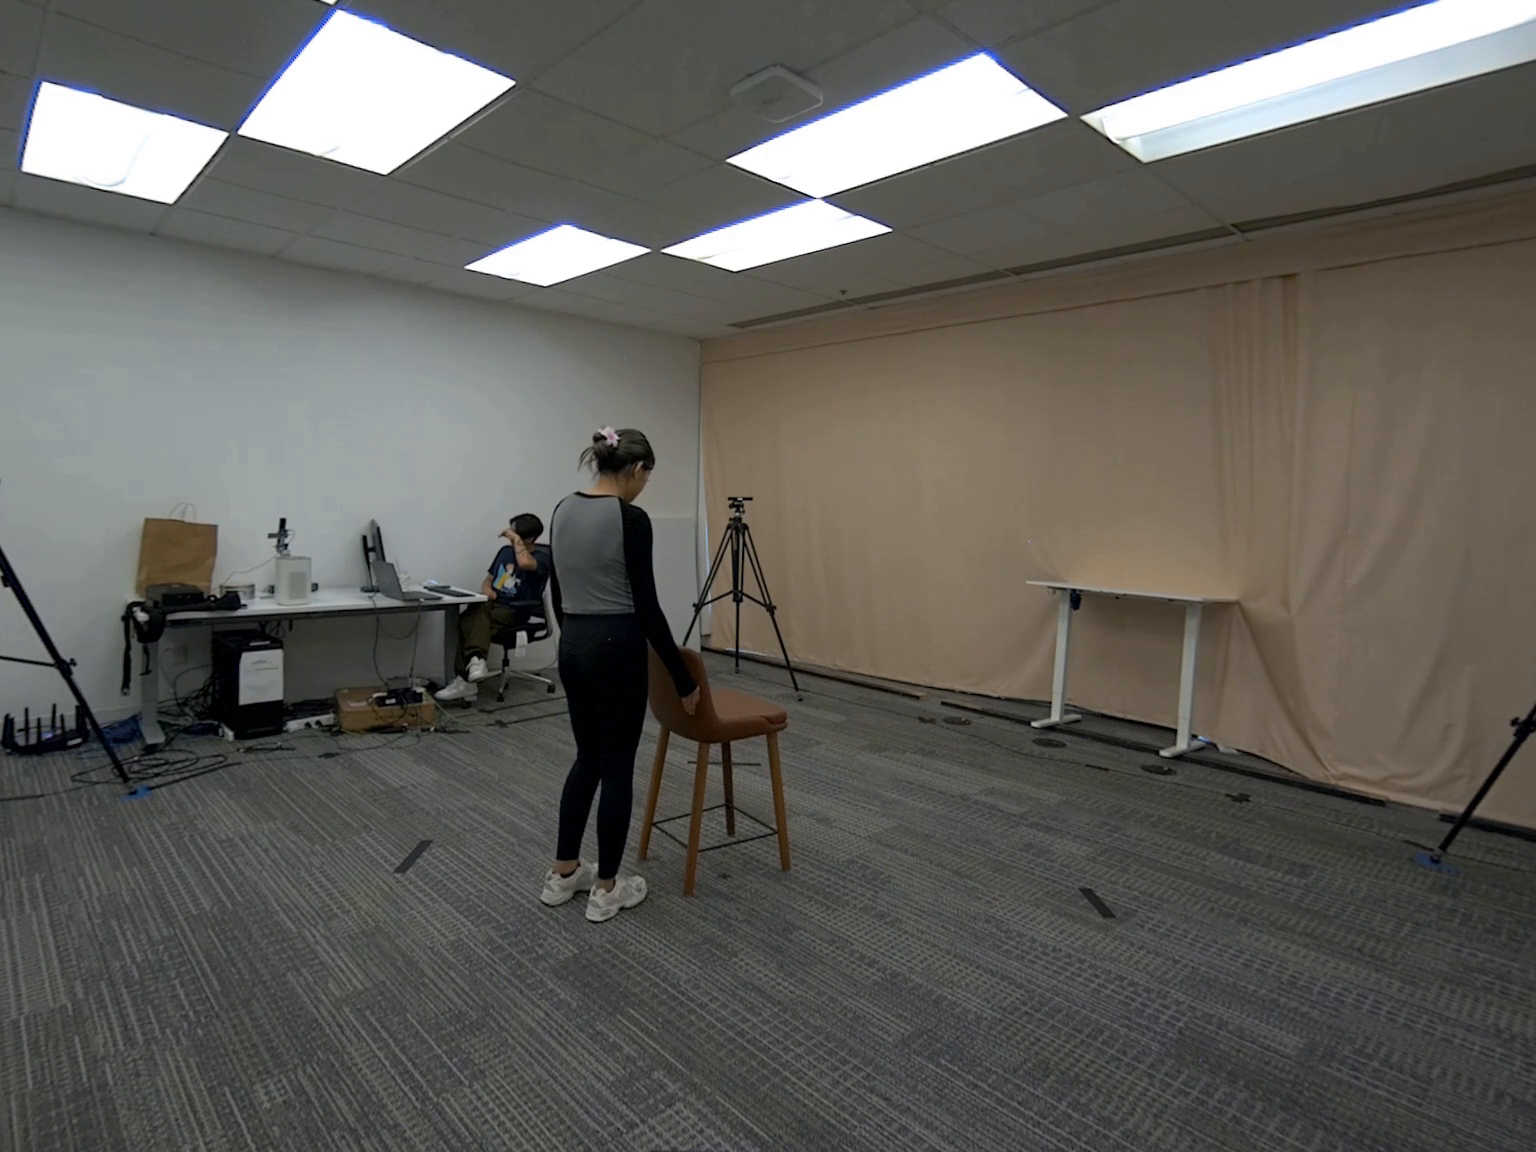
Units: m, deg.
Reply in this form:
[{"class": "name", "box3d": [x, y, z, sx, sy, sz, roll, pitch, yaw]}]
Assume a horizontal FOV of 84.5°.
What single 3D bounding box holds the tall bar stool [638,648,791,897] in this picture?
[{"class": "tall bar stool", "box3d": [-0.215, 0.660, 3.183, 0.458, 0.887, 0.467, -4, 5, -35]}]
